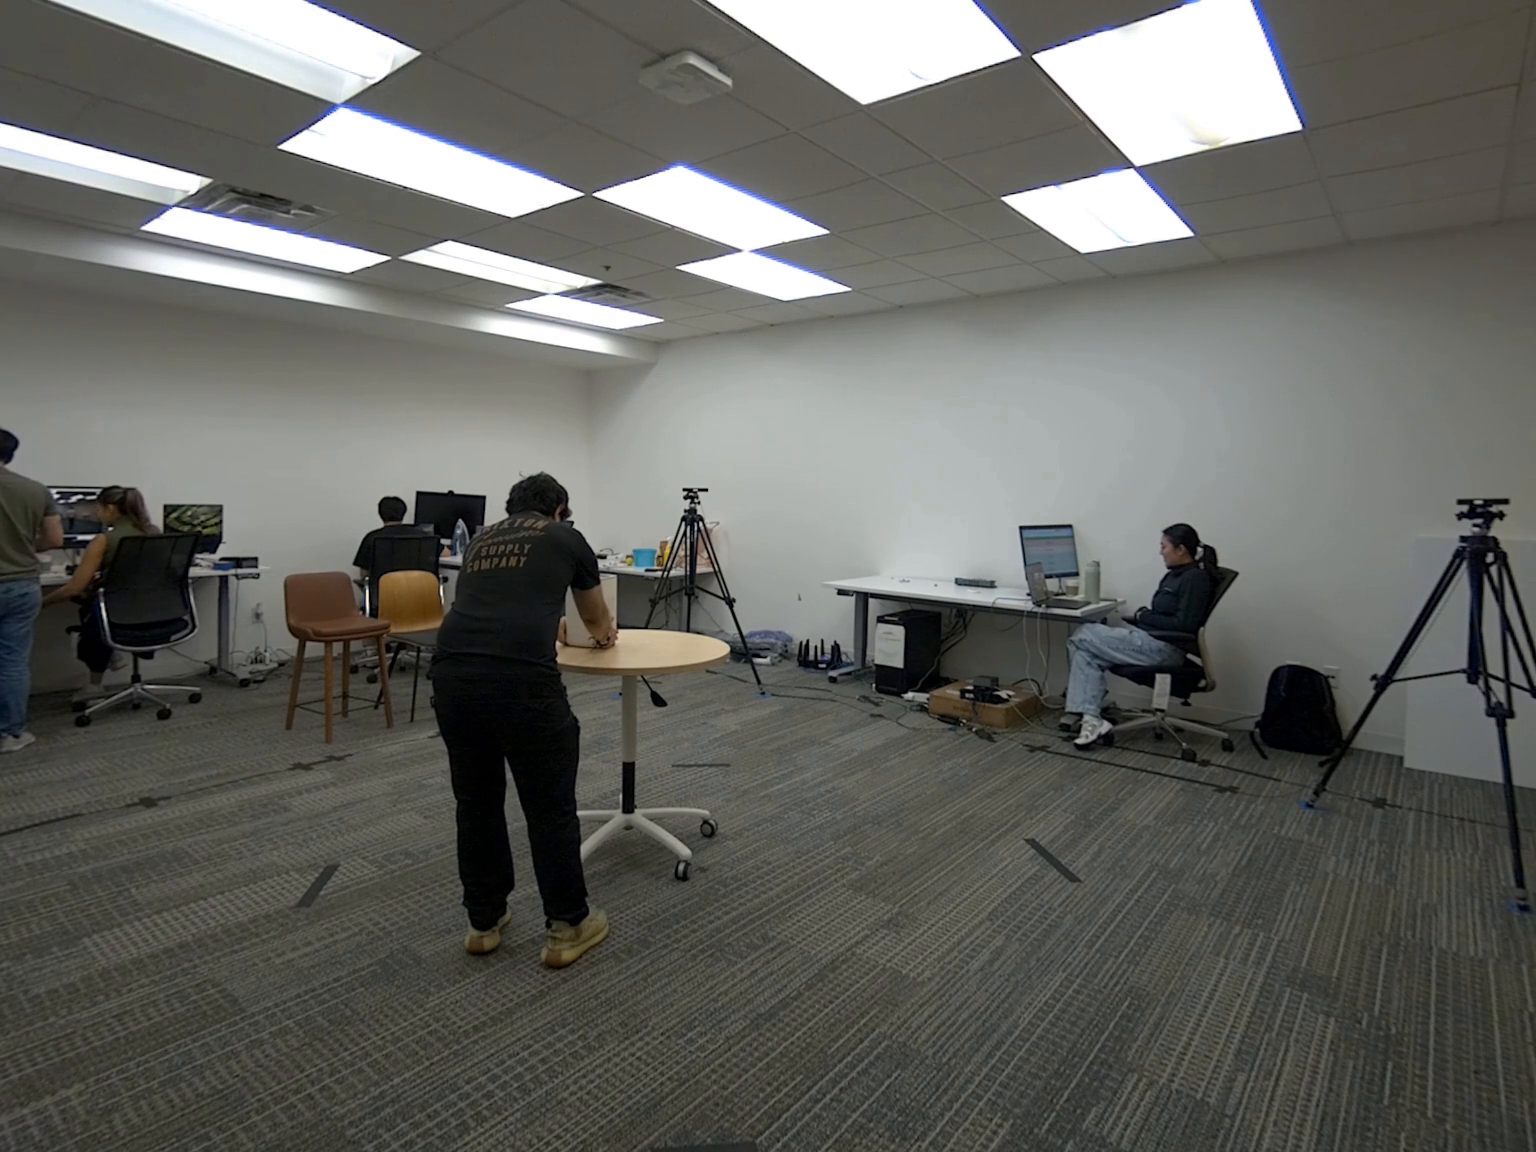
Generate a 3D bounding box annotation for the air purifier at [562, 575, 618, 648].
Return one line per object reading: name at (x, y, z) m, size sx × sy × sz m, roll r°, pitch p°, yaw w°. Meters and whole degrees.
air purifier at (-0.691, 0.130, 3.276) m, size 0.174 × 0.265 × 0.169 m, roll 2°, pitch 2°, yaw 13°
